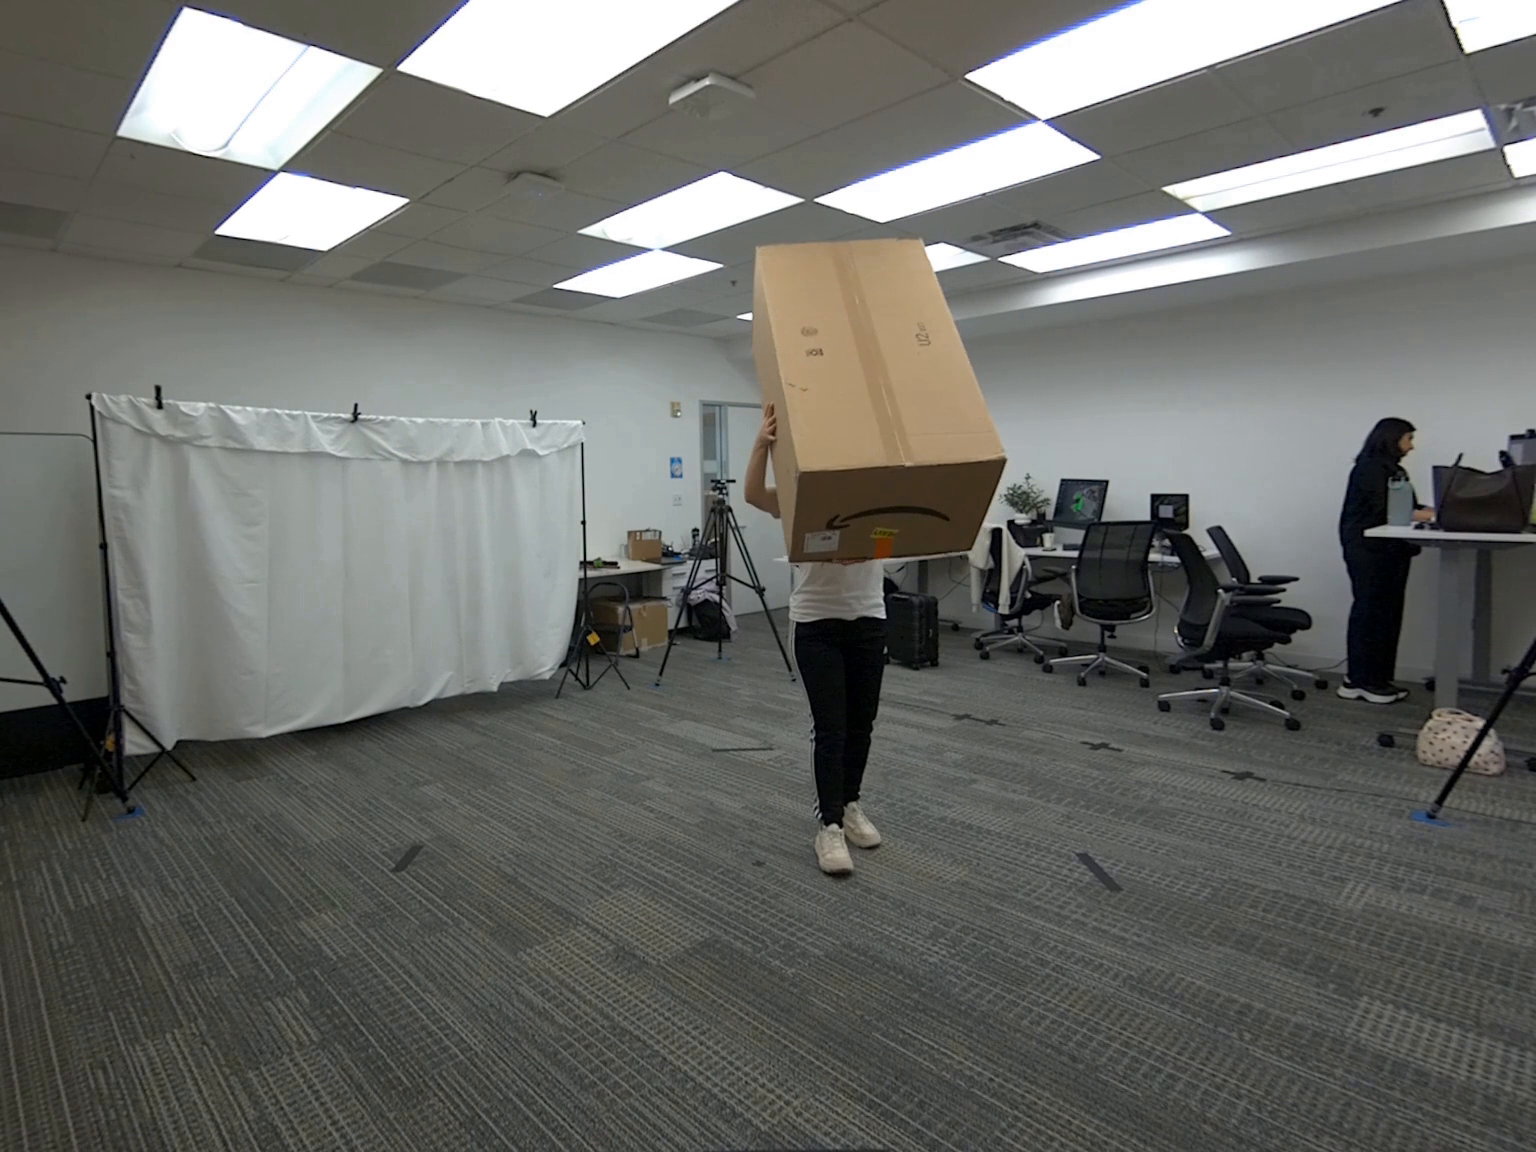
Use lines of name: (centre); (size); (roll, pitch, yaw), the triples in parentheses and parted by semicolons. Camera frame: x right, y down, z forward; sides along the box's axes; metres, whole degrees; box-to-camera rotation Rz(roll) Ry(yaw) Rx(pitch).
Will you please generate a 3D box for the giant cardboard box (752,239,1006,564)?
giant cardboard box: (0.295, -0.587, 2.762); (0.581, 1.057, 0.436); (-4, -35, -6)
